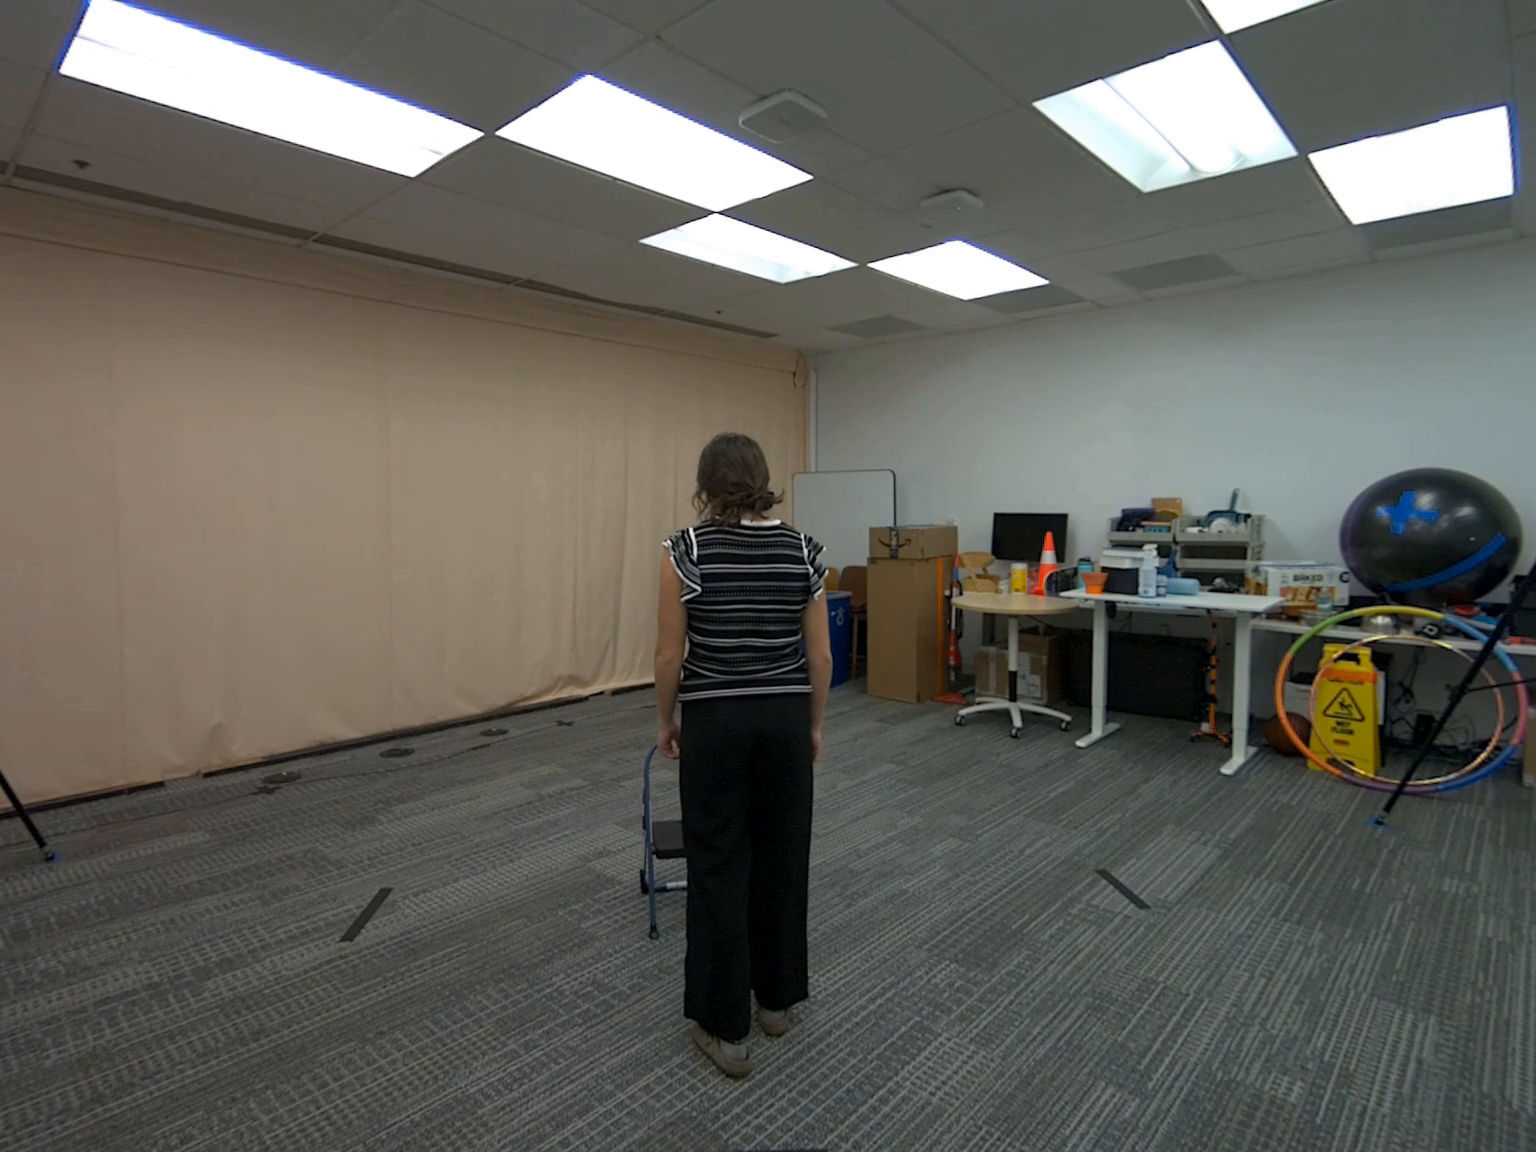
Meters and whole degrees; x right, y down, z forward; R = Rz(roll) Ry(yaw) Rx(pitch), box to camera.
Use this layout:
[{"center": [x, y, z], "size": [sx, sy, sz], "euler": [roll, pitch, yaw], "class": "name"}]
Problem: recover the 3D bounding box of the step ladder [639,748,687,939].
[{"center": [-0.219, 0.853, 2.907], "size": [0.425, 0.605, 0.355], "euler": [-1, 4, -13], "class": "step ladder"}]
